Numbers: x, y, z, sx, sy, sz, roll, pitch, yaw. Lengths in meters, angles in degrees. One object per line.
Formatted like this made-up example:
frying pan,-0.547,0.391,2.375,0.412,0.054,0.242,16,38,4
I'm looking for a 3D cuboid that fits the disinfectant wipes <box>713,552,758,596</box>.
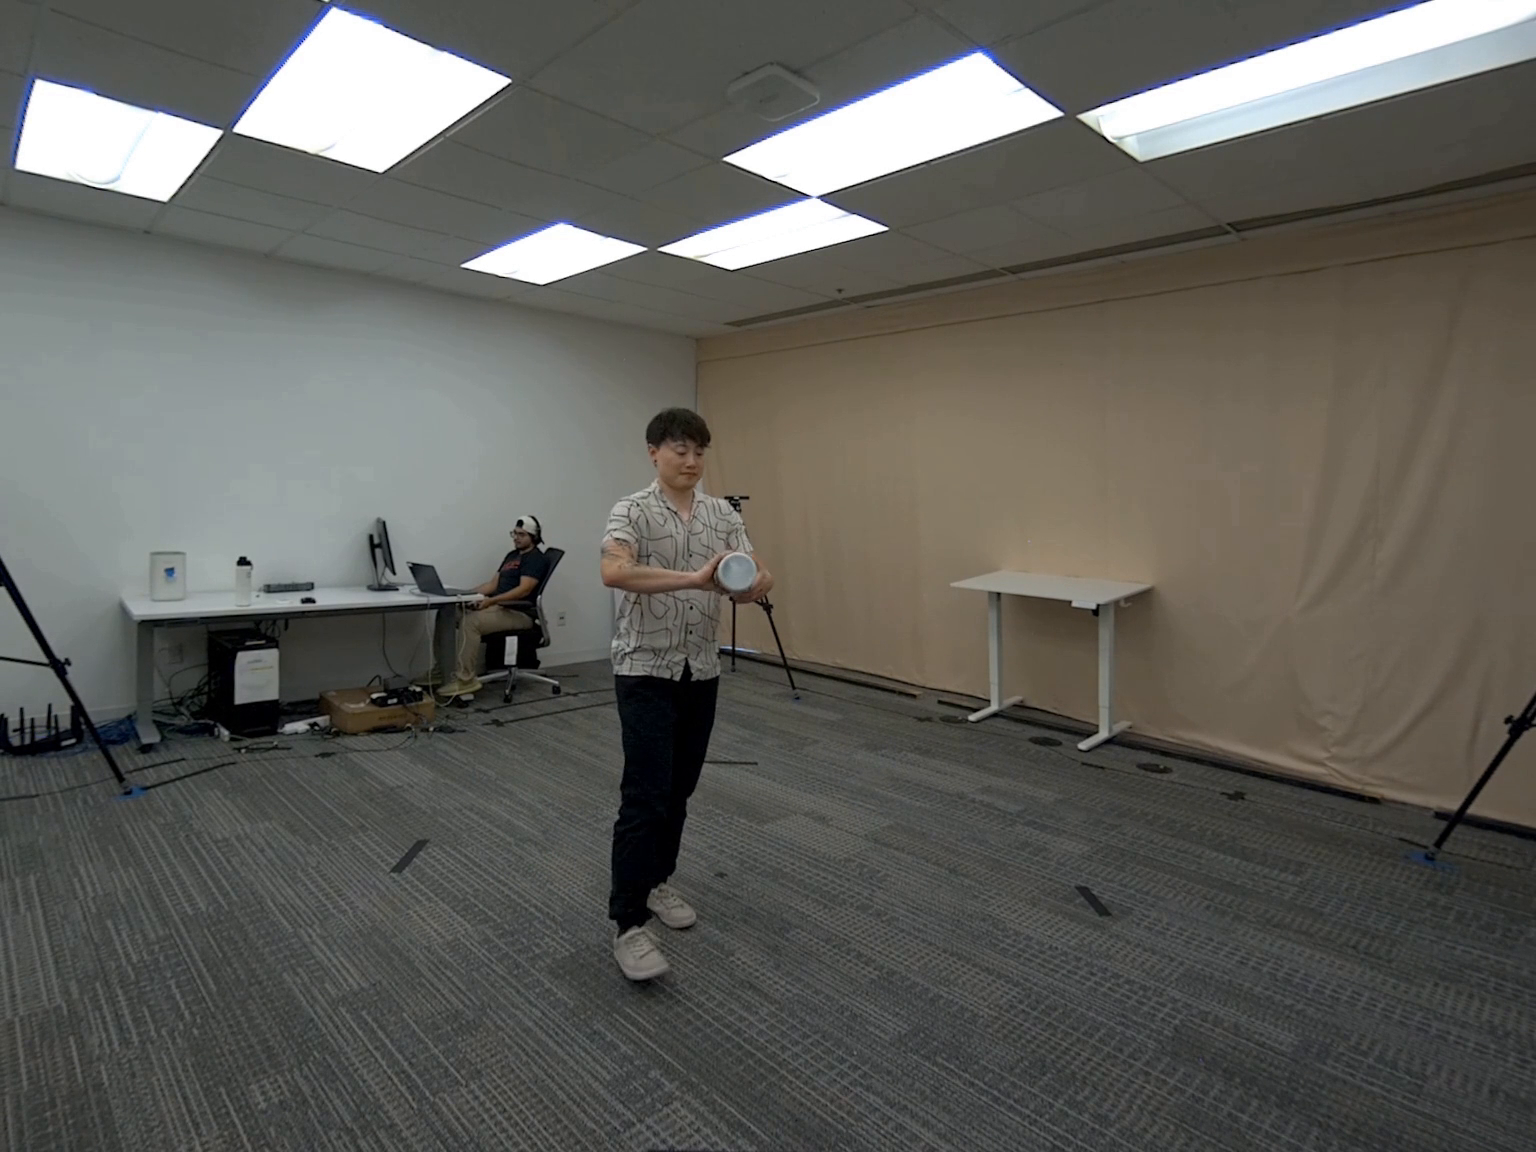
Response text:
disinfectant wipes,-0.105,-0.010,2.430,0.117,0.118,0.217,1,-5,-5
